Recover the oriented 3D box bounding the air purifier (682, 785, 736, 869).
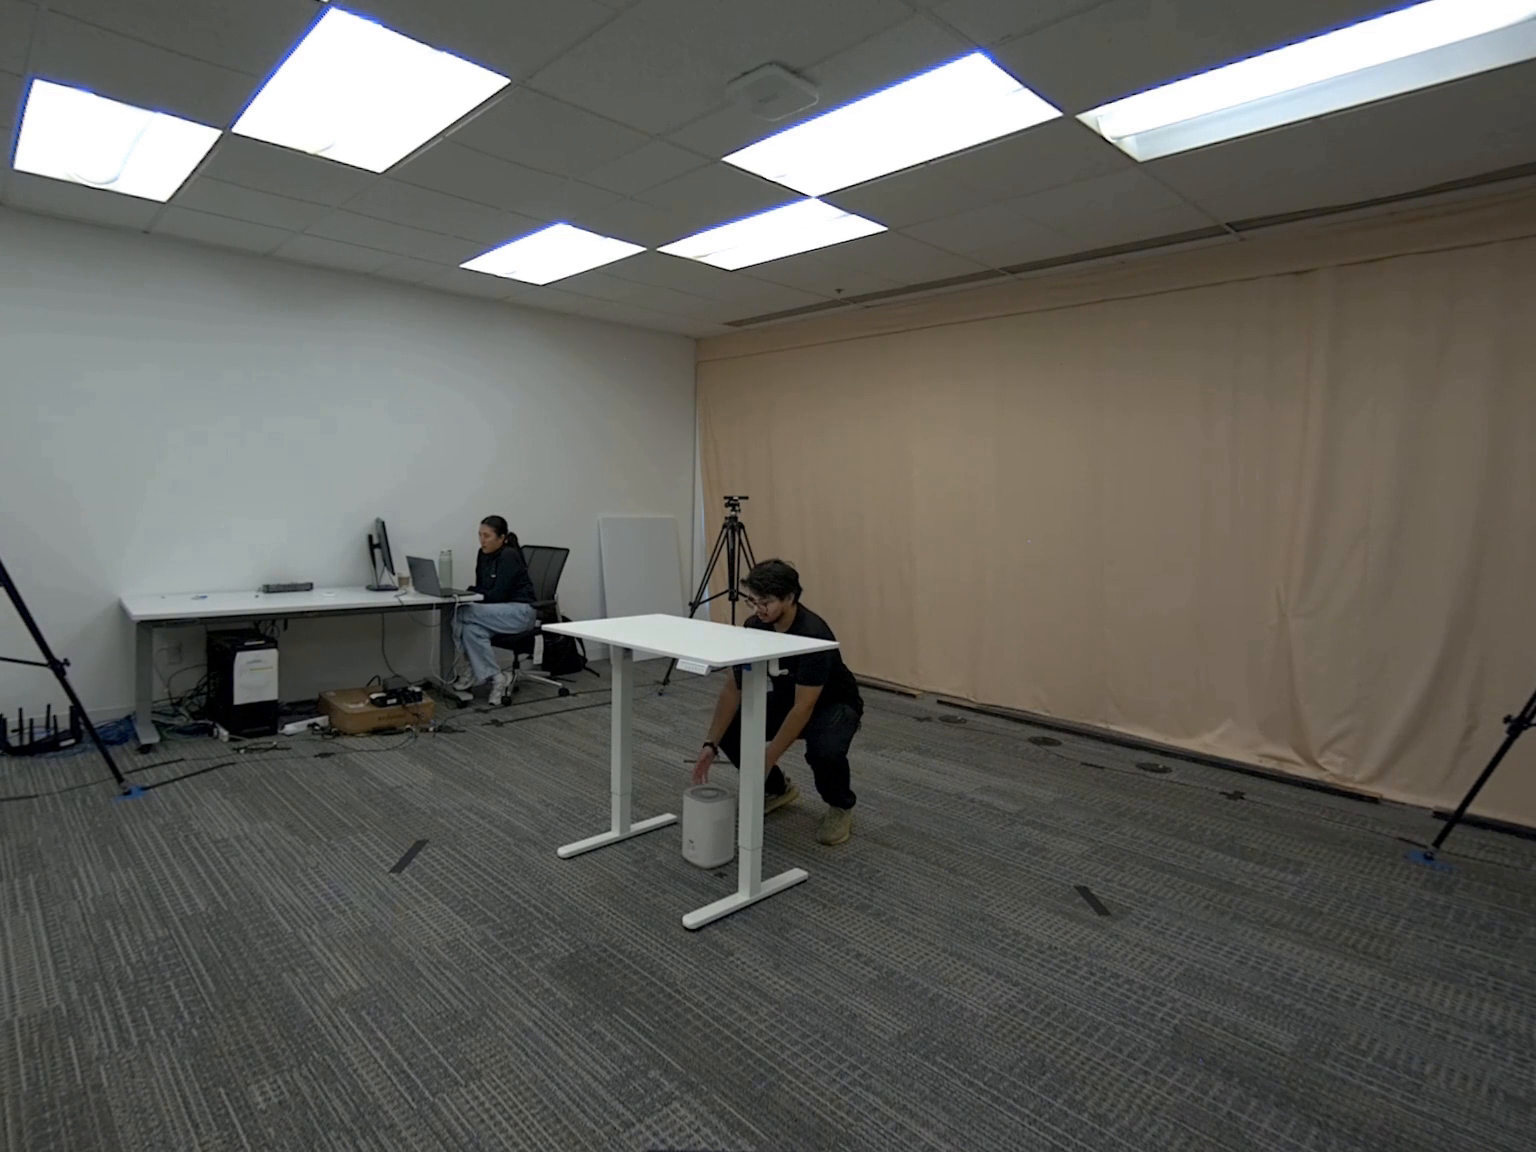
[{"bbox_3d":[-0.229,0.952,3.218,0.168,0.265,0.175,-3,5,-44],"label":"air purifier"}]
